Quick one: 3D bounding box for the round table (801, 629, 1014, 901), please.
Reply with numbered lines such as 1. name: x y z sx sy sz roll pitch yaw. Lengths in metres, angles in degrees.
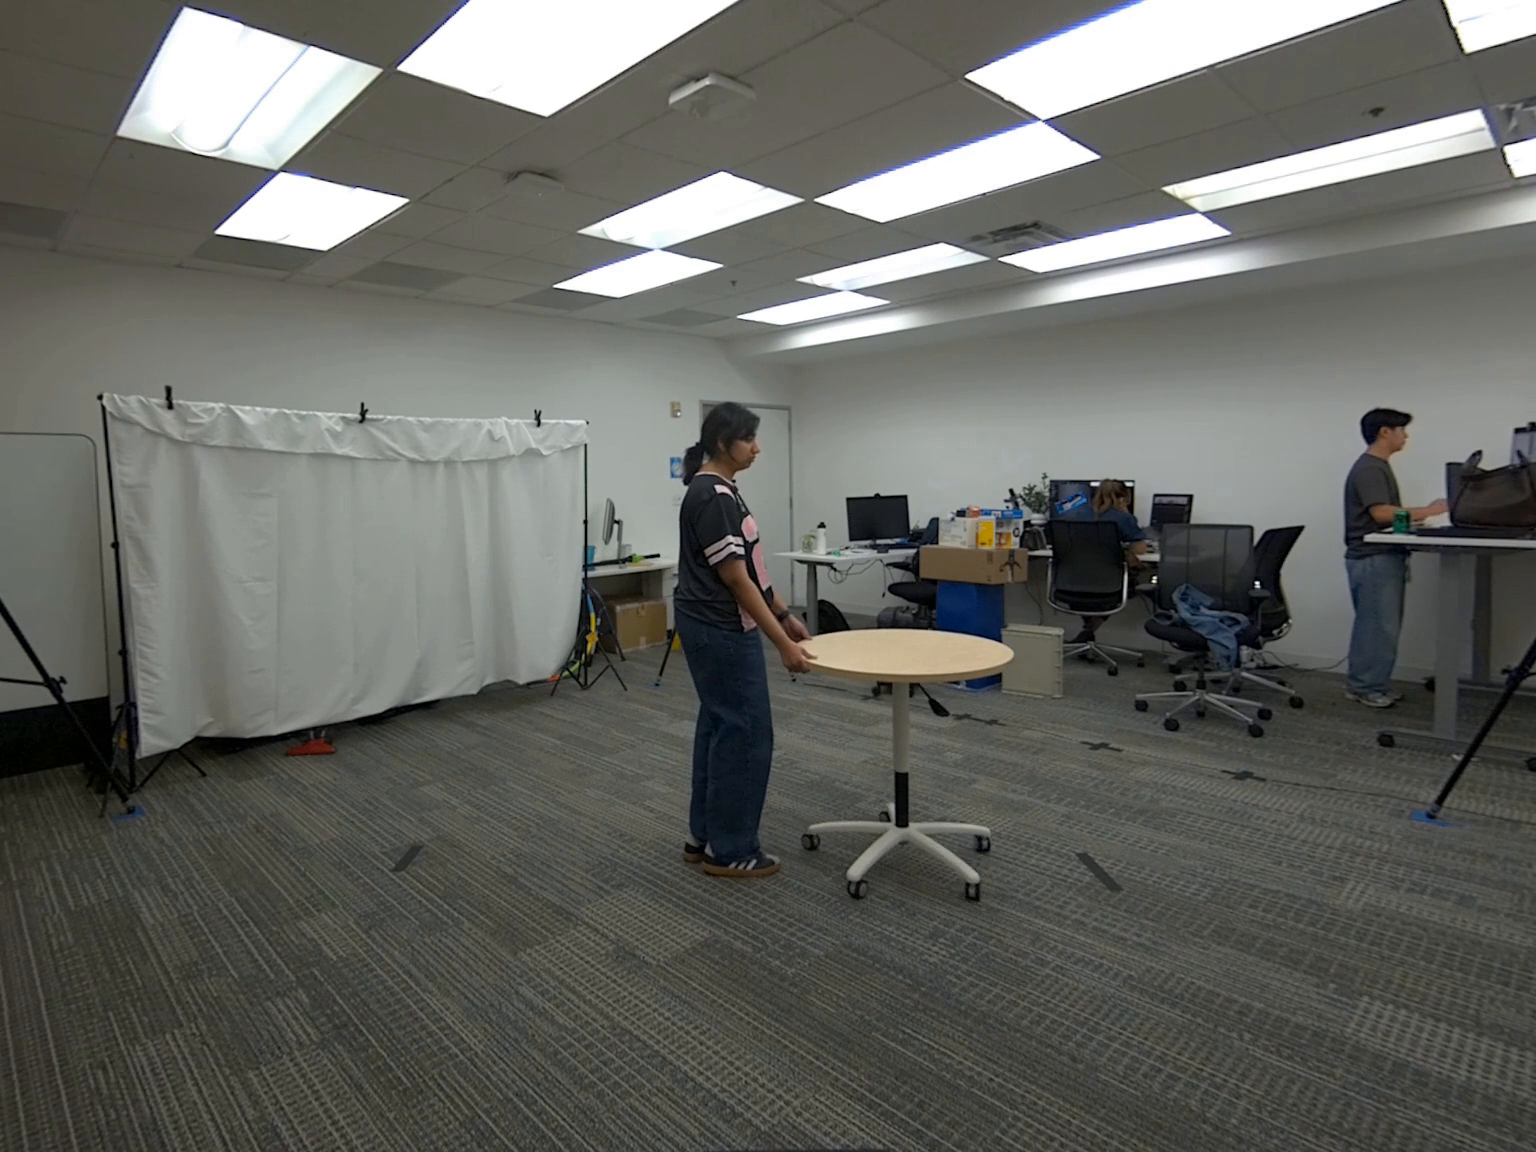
1. round table: 0.465 0.644 3.075 0.784 0.783 0.789 -1 5 -2
